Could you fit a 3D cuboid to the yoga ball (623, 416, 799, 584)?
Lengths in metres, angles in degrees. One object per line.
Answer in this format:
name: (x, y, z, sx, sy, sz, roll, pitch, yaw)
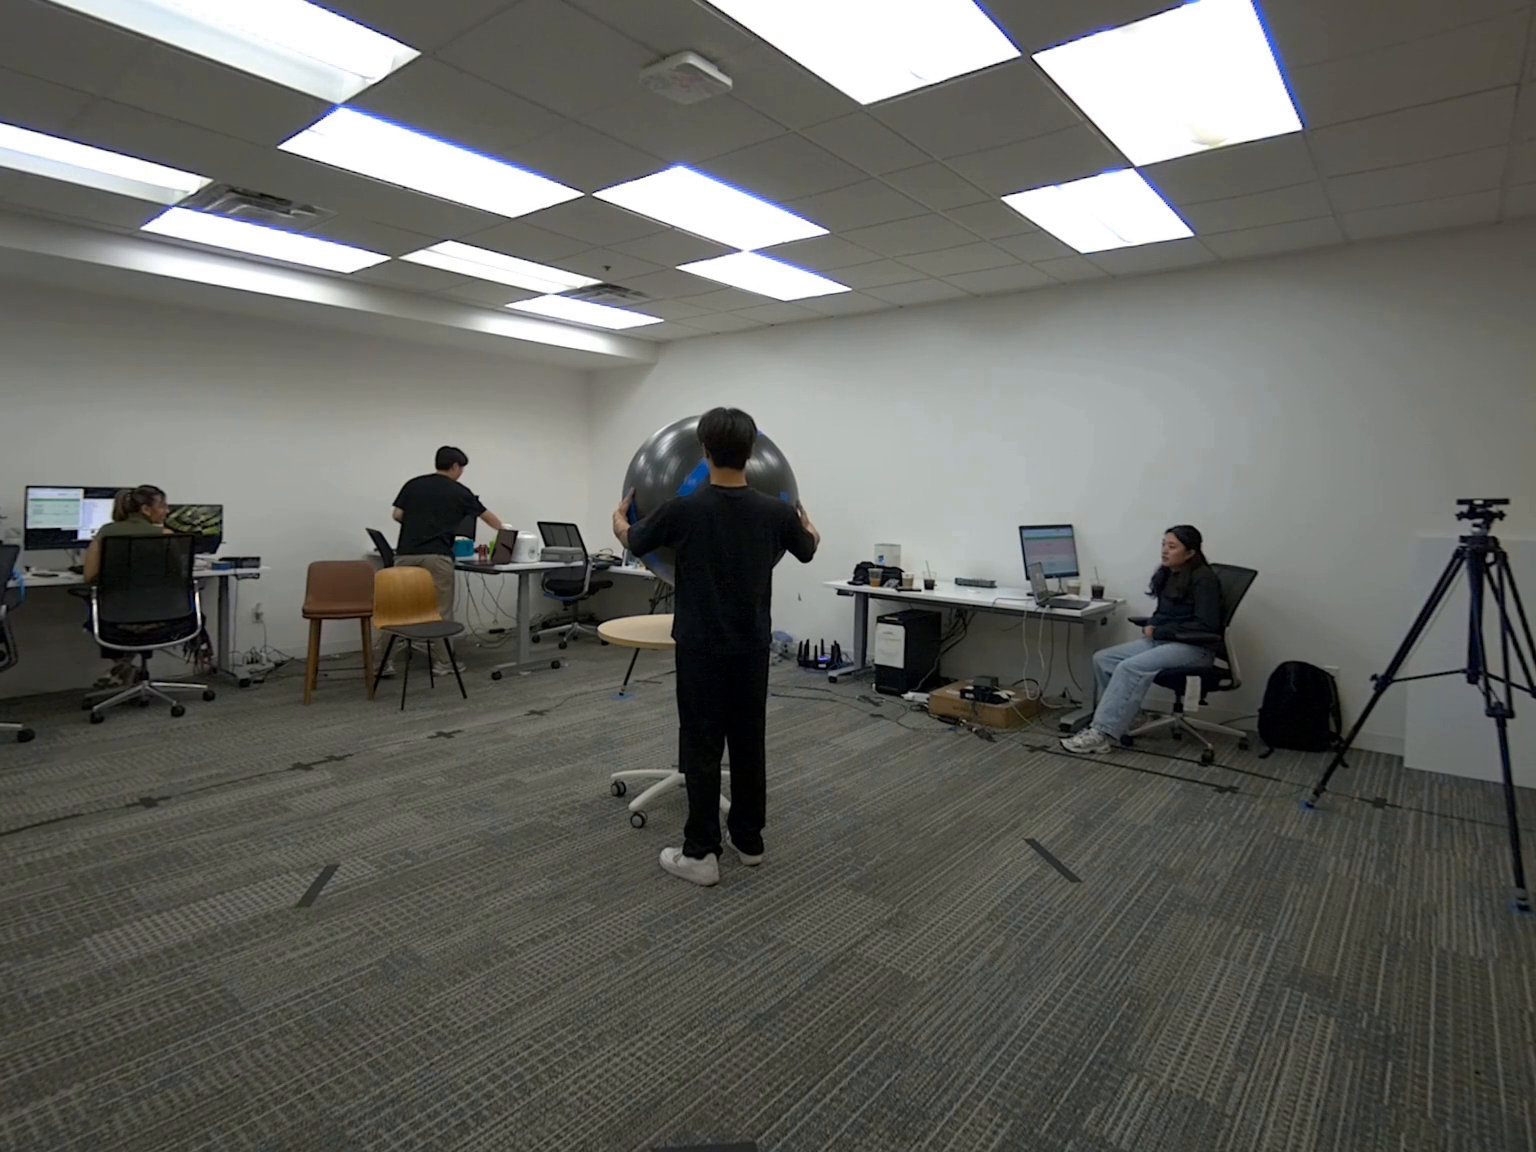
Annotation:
yoga ball: (-0.257, -0.304, 3.626, 0.757, 0.755, 0.762, 1, 4, -2)
